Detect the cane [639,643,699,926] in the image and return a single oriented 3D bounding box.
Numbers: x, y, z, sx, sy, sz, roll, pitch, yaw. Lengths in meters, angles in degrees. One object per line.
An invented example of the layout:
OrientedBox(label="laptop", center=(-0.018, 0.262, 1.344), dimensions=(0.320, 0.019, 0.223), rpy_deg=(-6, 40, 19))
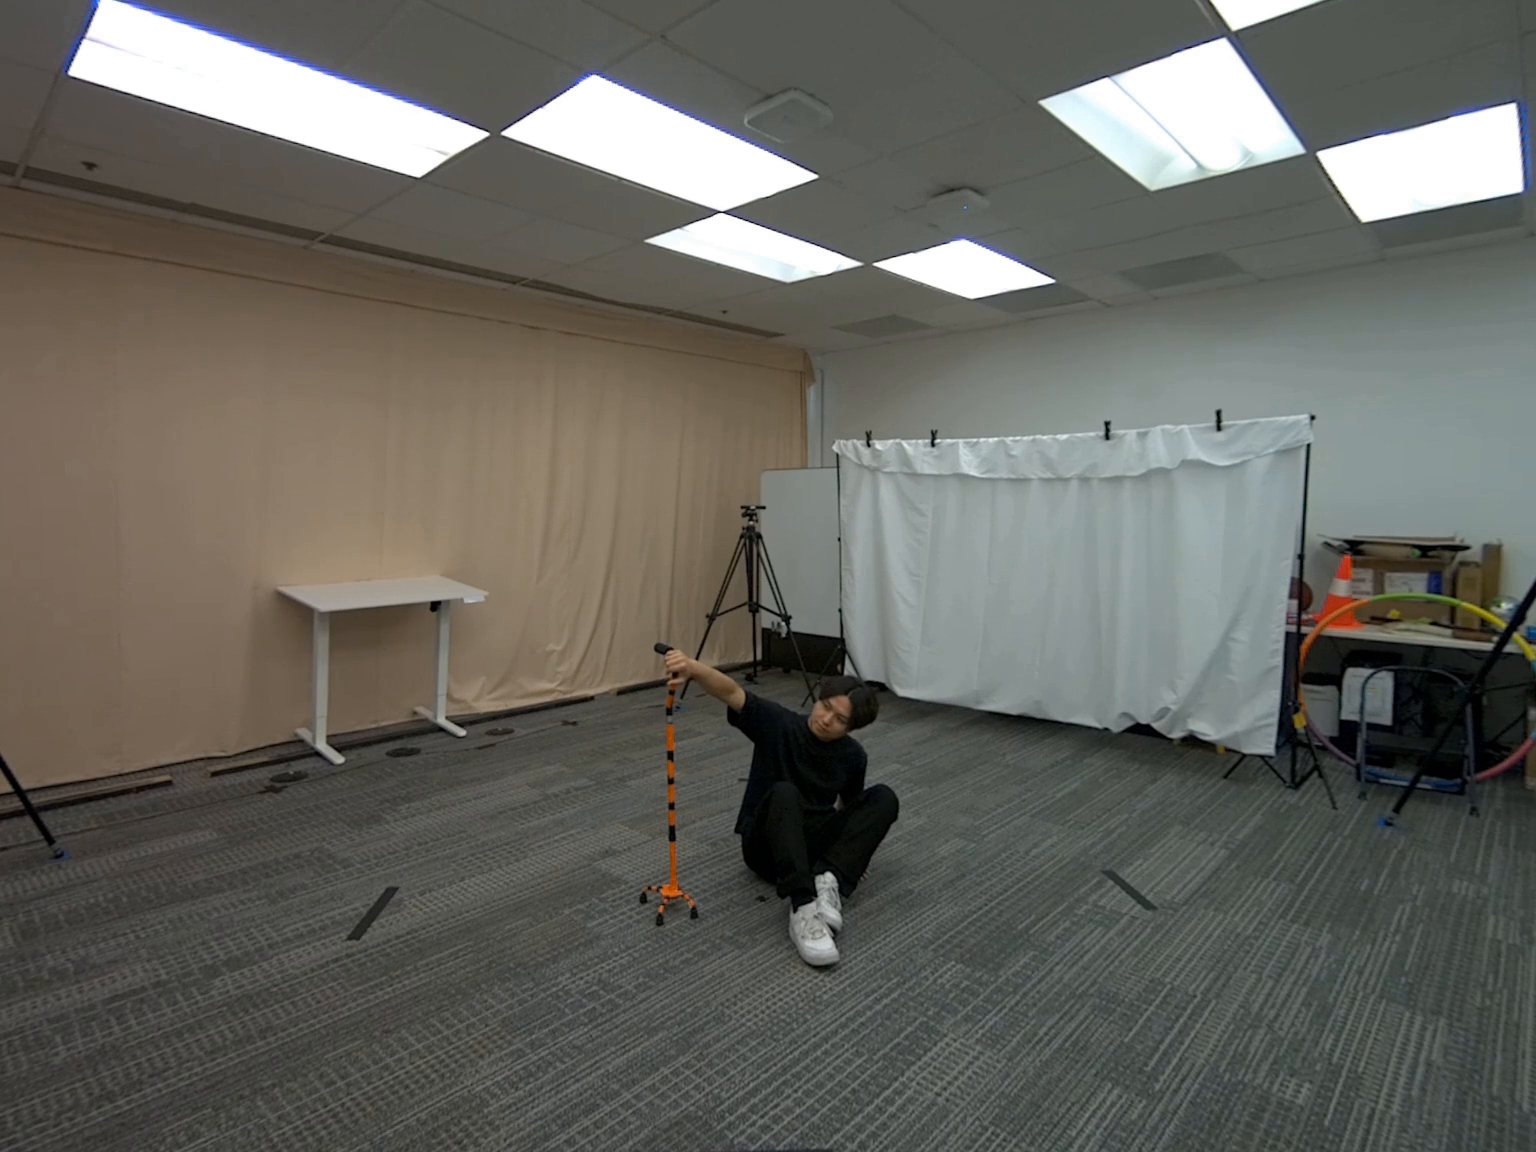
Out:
OrientedBox(label="cane", center=(-0.348, 0.703, 2.886), dimensions=(0.148, 0.906, 0.212), rpy_deg=(-2, 3, -25))
